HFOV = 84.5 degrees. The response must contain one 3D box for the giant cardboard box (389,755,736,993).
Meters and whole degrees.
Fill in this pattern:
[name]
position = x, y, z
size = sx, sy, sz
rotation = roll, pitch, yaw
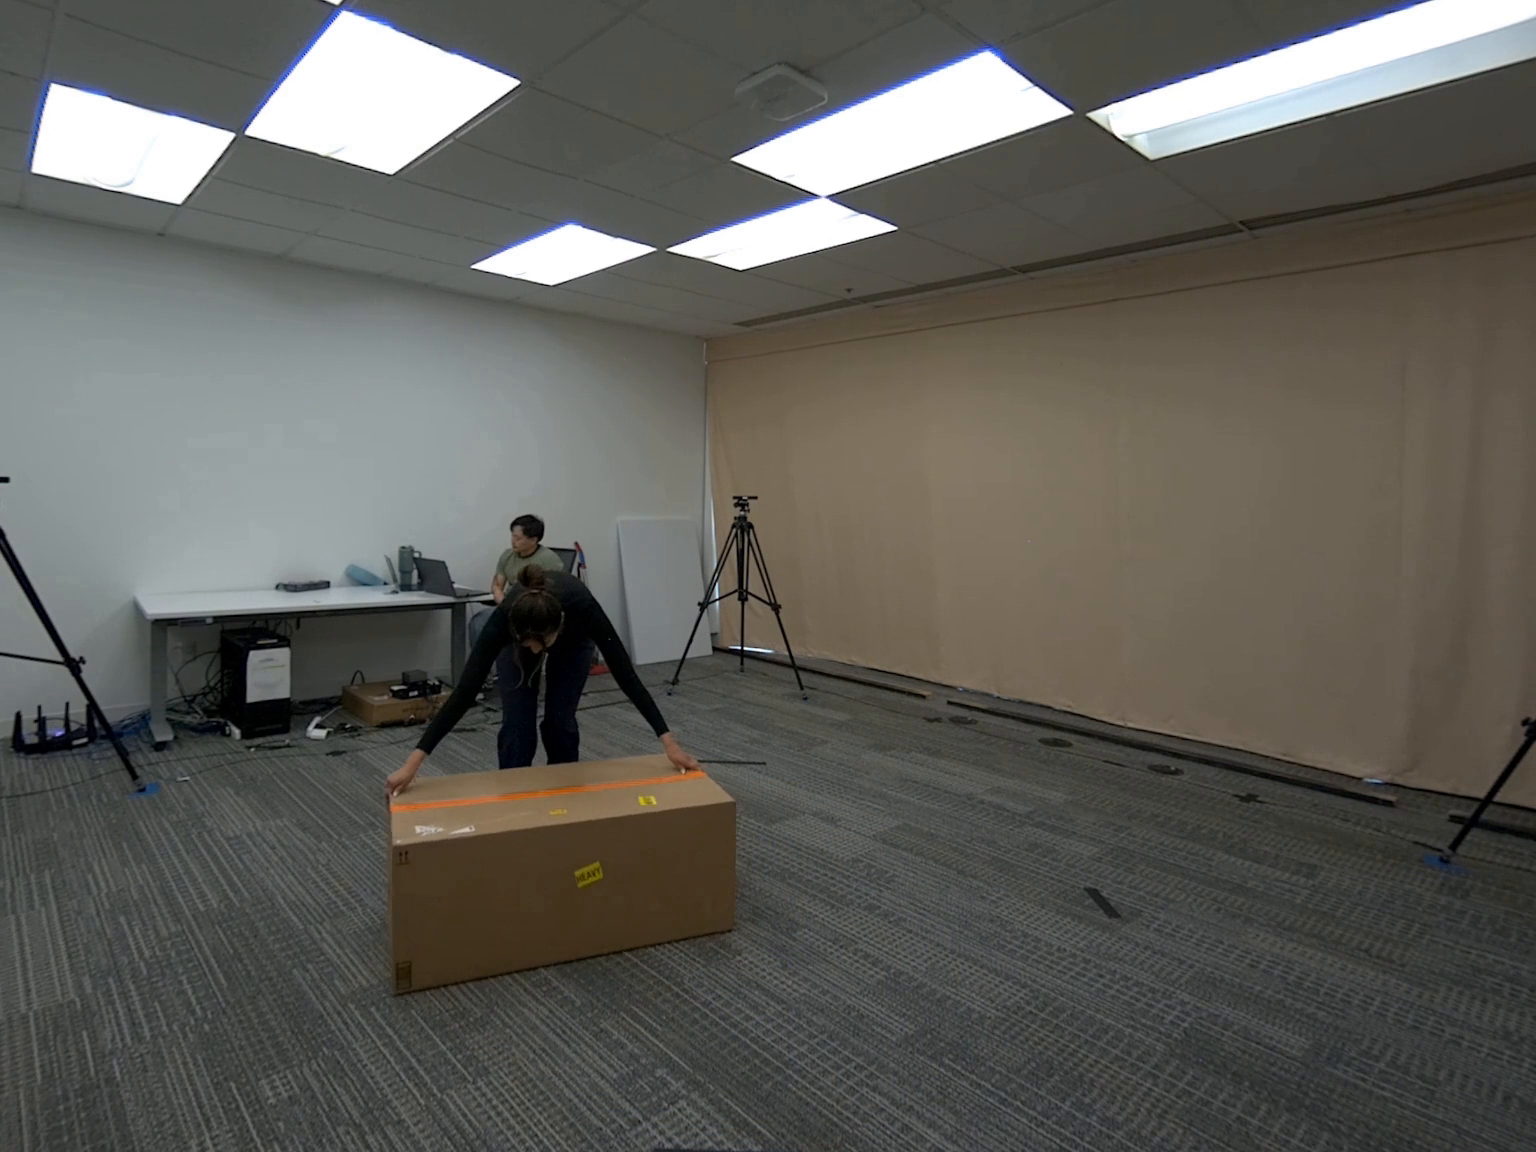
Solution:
[giant cardboard box]
position = -0.686, 0.908, 2.754
size = 1.008, 0.425, 0.589
rotation = -1, 5, -24
